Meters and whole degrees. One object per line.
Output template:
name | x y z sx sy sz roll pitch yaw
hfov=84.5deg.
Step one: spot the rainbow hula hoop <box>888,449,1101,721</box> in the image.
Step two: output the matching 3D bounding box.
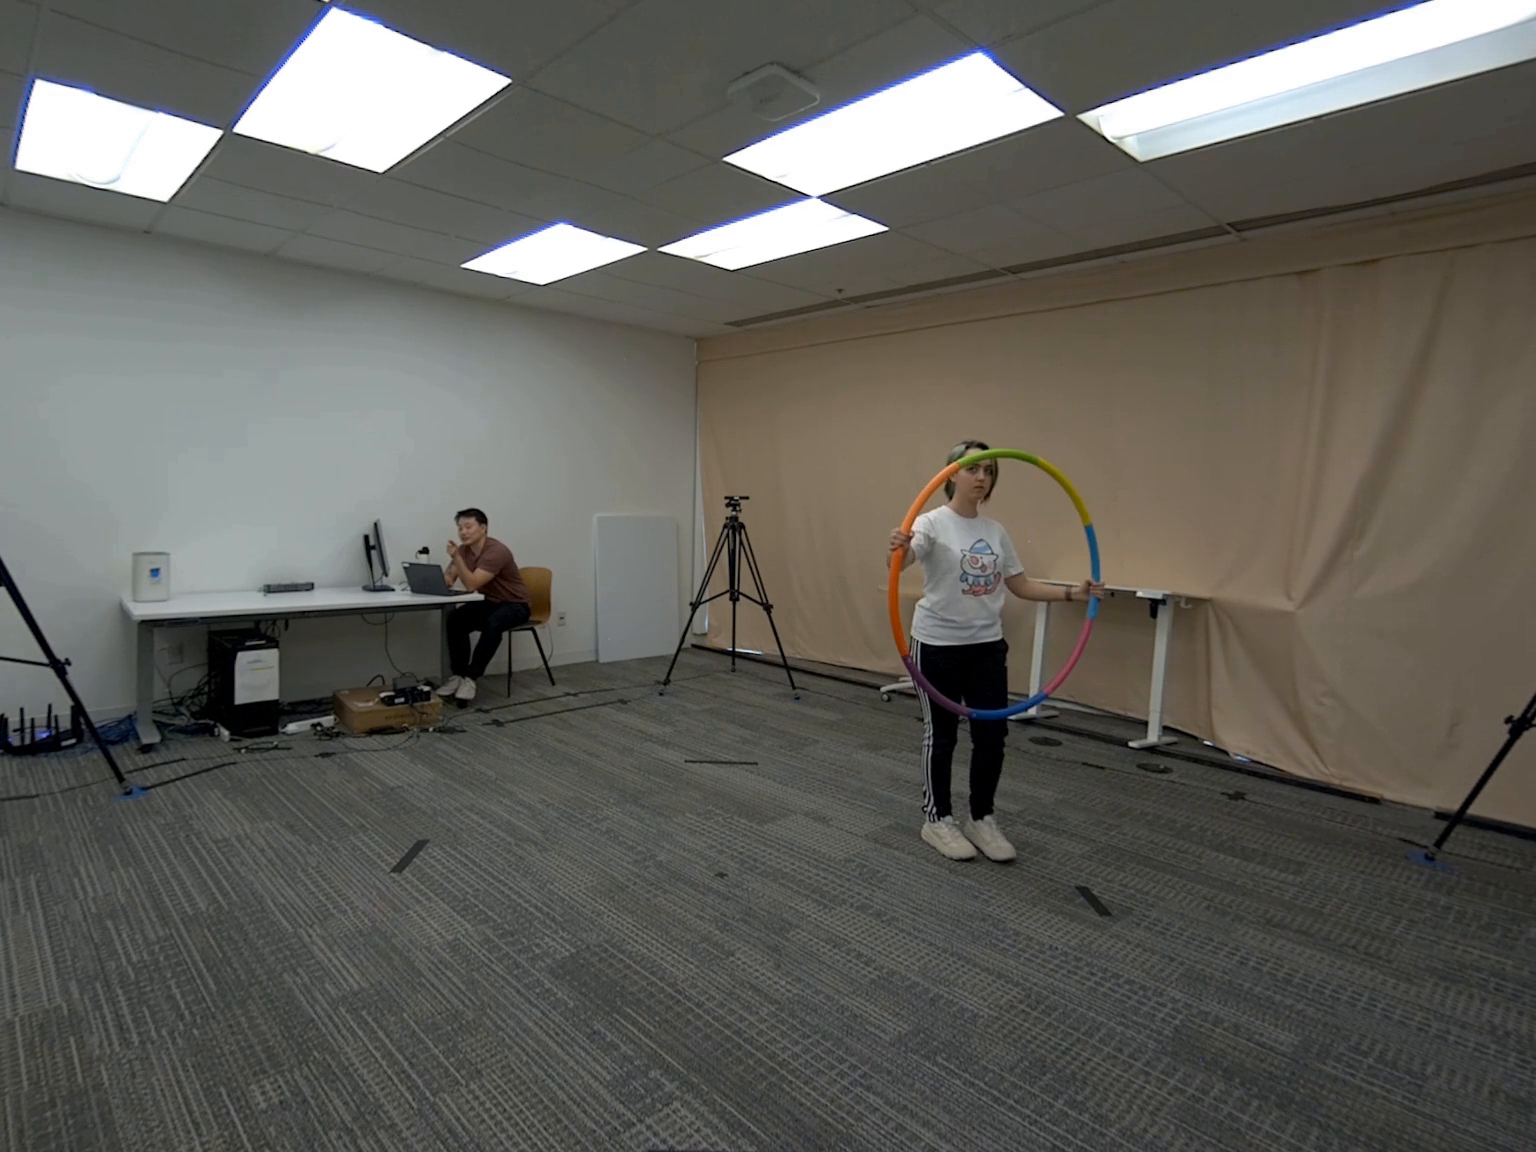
rainbow hula hoop | 0.841 0.035 3.045 0.960 0.976 0.036 -1 3 -27
